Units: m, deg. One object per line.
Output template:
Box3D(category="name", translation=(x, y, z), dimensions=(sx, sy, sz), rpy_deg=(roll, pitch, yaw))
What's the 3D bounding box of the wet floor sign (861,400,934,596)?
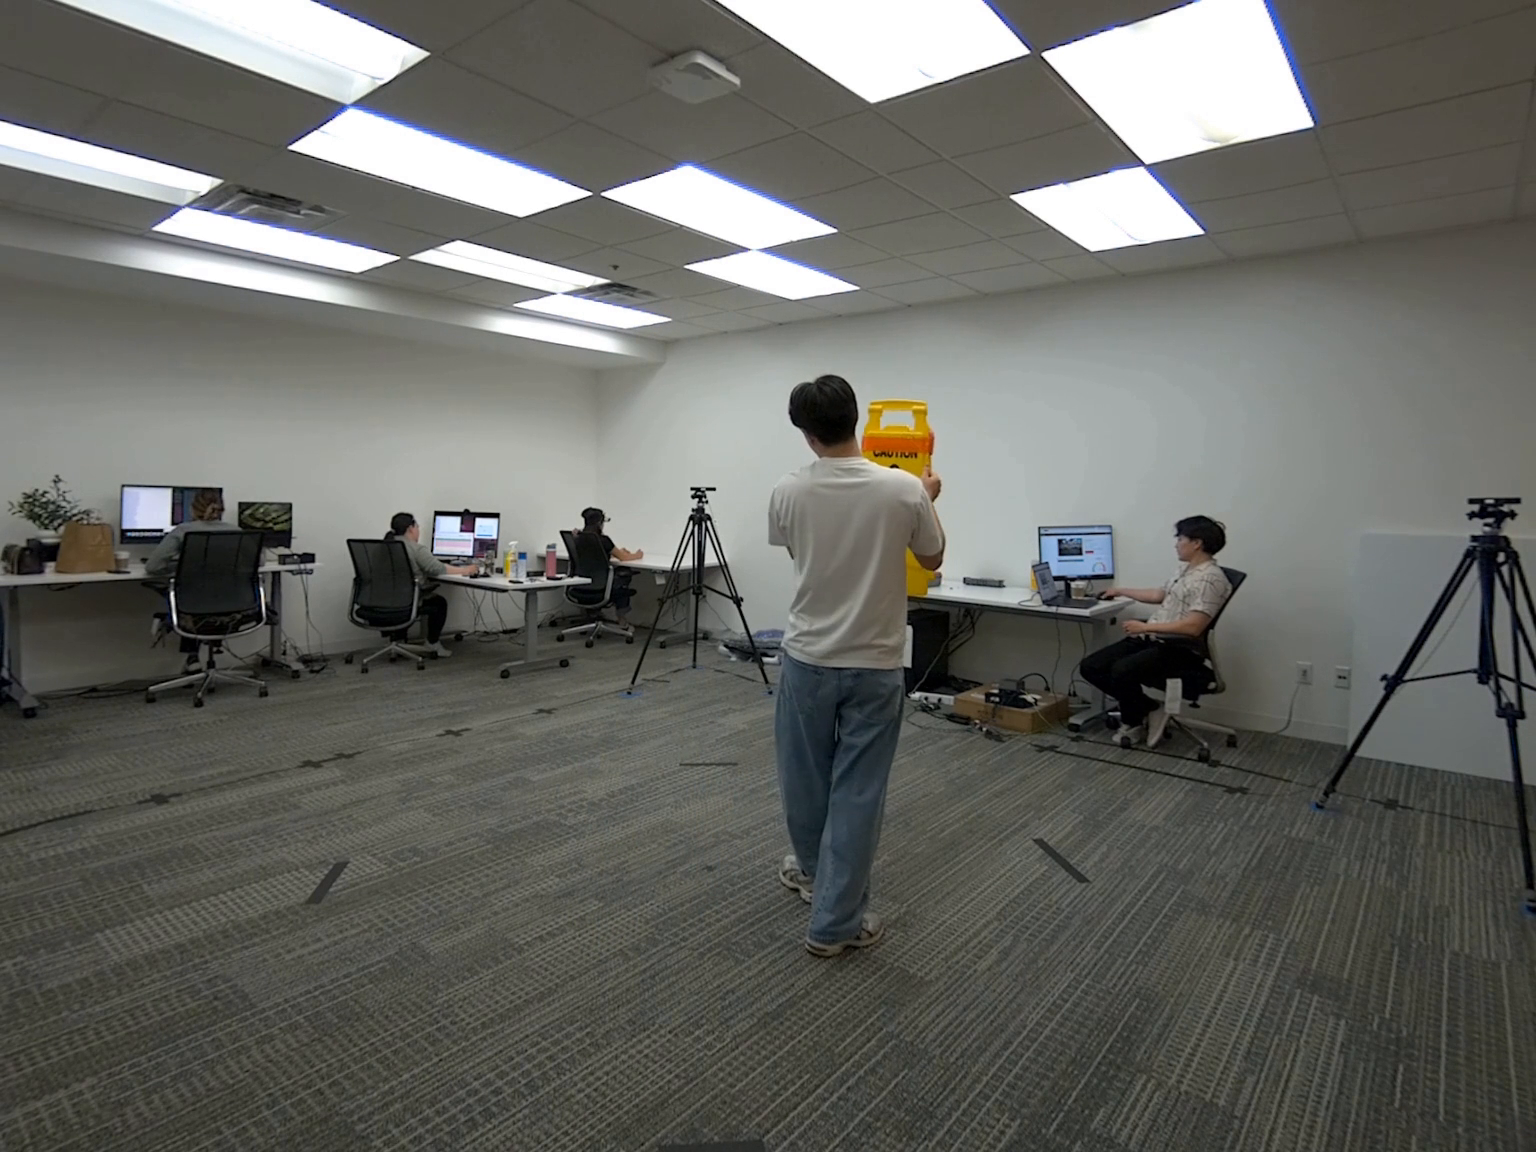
Box3D(category="wet floor sign", translation=(0.433, -0.289, 2.974), dimensions=(0.288, 0.640, 0.287), rpy_deg=(6, 11, 16))
